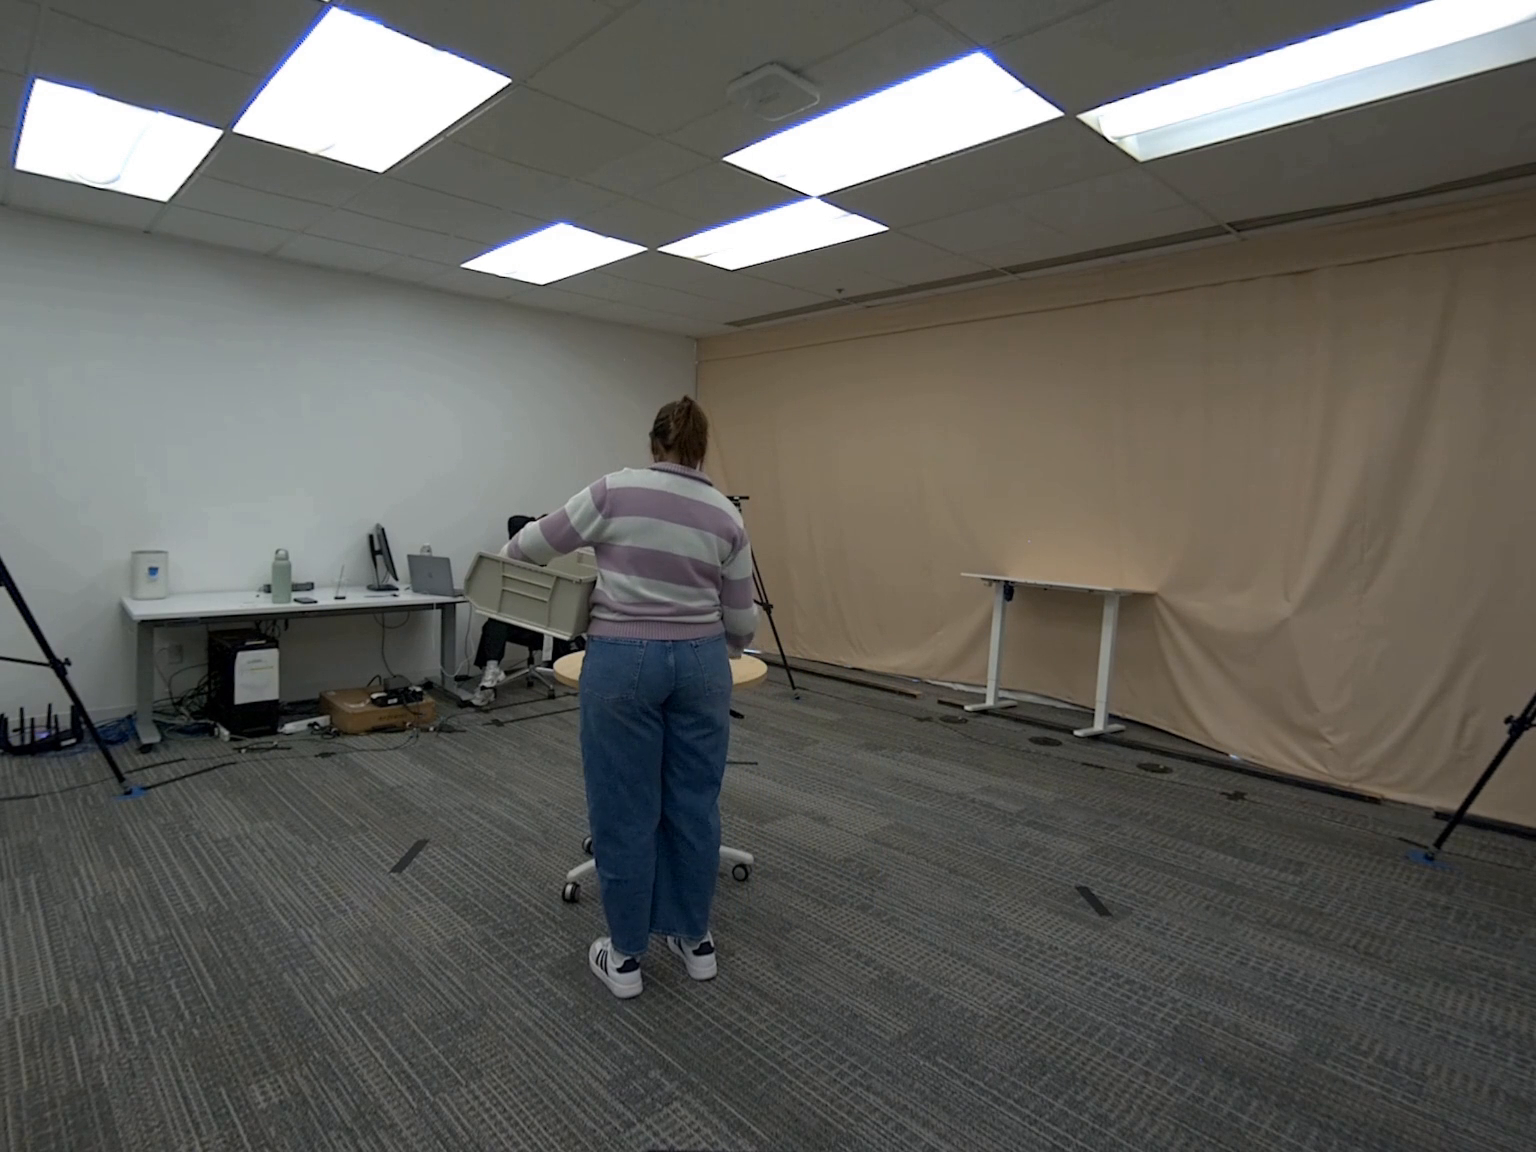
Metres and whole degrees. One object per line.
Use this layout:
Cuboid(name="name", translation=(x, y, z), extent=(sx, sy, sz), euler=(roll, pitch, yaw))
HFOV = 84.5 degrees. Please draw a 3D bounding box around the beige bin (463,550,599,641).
Cuboid(name="beige bin", translation=(-0.623, 0.045, 2.506), extent=(0.384, 0.188, 0.418), euler=(15, 11, 17))
